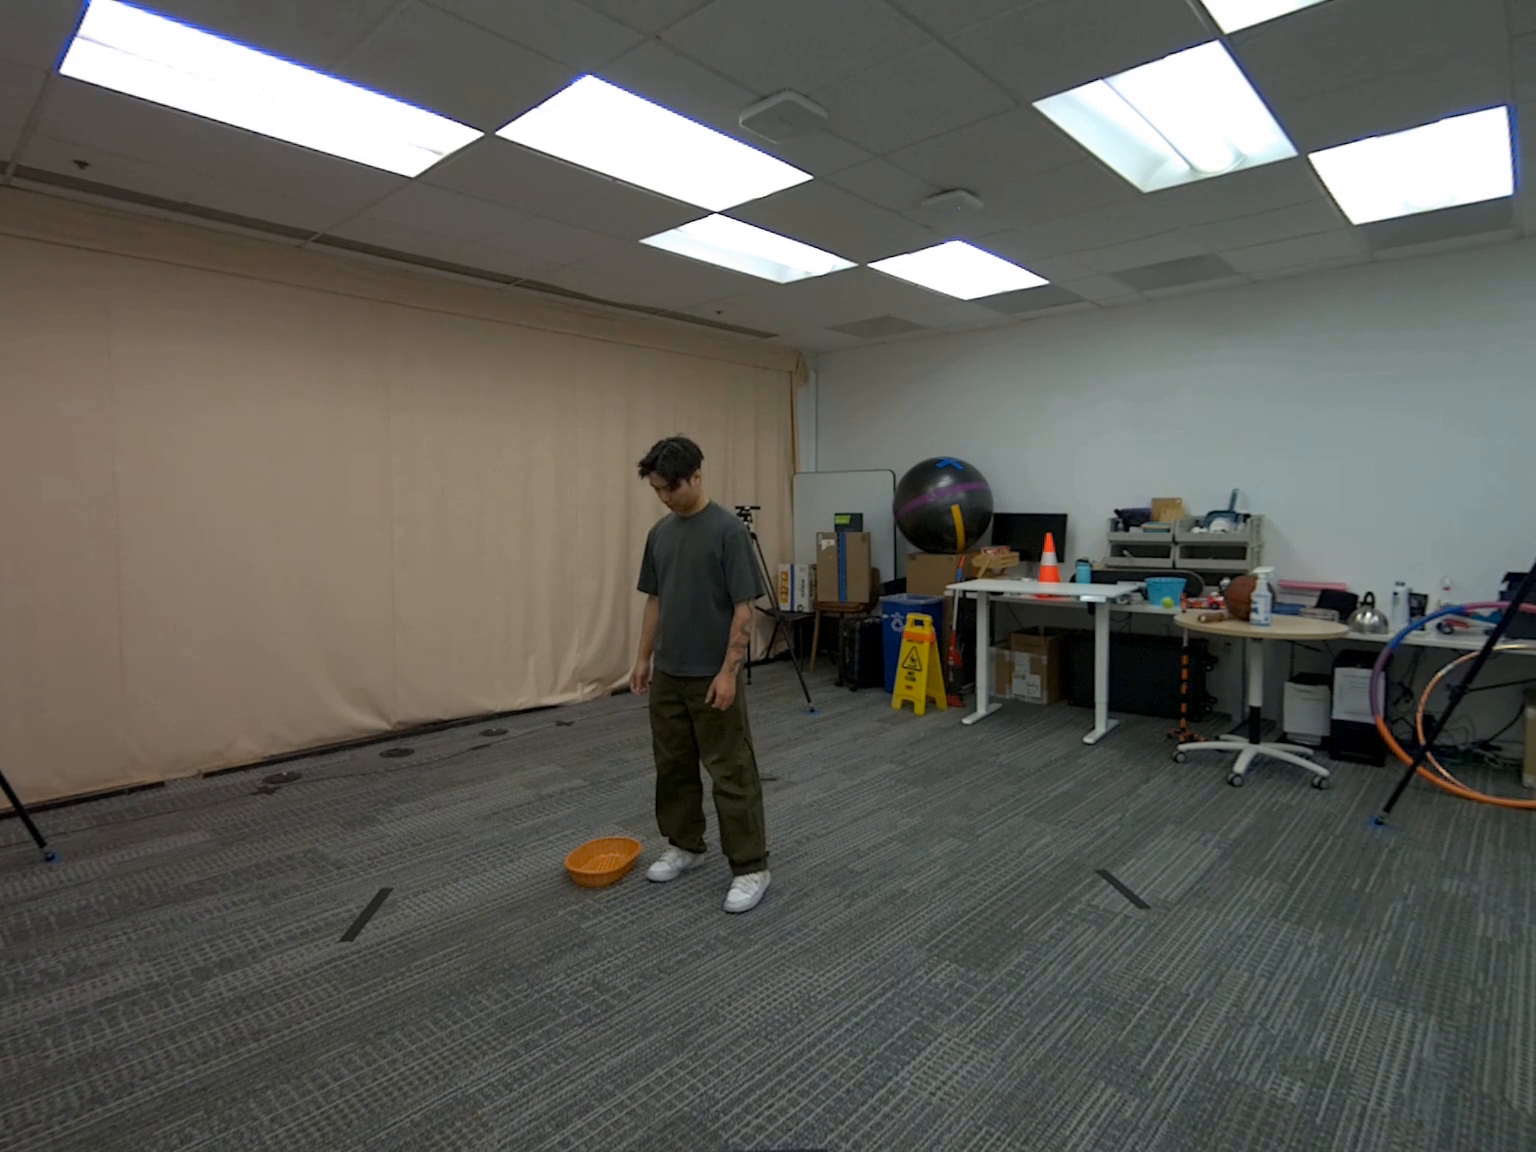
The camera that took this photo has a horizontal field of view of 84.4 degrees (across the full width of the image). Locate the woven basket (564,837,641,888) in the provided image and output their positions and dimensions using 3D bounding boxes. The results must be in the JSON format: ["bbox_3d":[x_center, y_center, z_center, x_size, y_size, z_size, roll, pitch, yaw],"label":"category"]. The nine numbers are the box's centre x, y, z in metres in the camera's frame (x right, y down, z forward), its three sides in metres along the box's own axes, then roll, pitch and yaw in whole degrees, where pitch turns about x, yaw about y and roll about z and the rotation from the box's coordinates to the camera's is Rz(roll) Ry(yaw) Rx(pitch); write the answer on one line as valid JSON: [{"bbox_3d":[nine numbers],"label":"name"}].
[{"bbox_3d":[-0.628,1.094,3.218,0.259,0.073,0.342,1,5,25],"label":"woven basket"}]
